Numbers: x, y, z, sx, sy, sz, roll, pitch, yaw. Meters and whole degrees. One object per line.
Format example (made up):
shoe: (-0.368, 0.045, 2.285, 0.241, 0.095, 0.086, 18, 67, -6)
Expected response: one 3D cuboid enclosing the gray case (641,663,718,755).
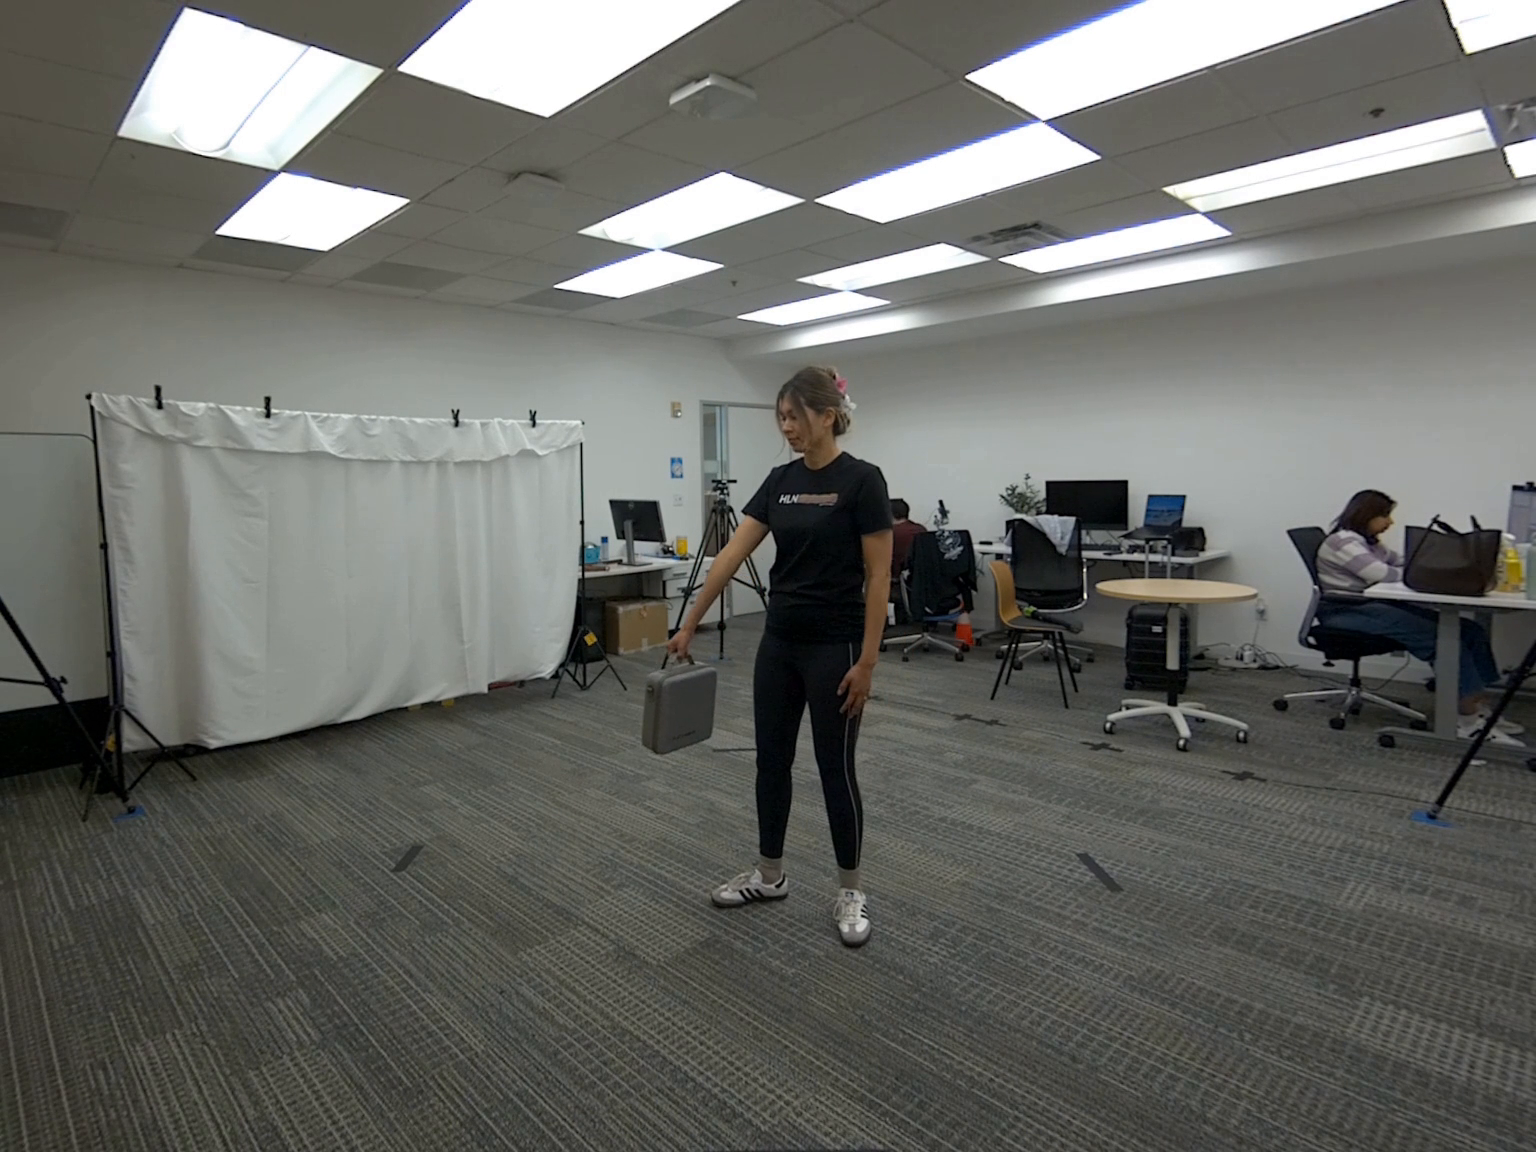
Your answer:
gray case: (-0.278, 0.413, 2.733, 0.108, 0.259, 0.250, 8, 9, 38)
